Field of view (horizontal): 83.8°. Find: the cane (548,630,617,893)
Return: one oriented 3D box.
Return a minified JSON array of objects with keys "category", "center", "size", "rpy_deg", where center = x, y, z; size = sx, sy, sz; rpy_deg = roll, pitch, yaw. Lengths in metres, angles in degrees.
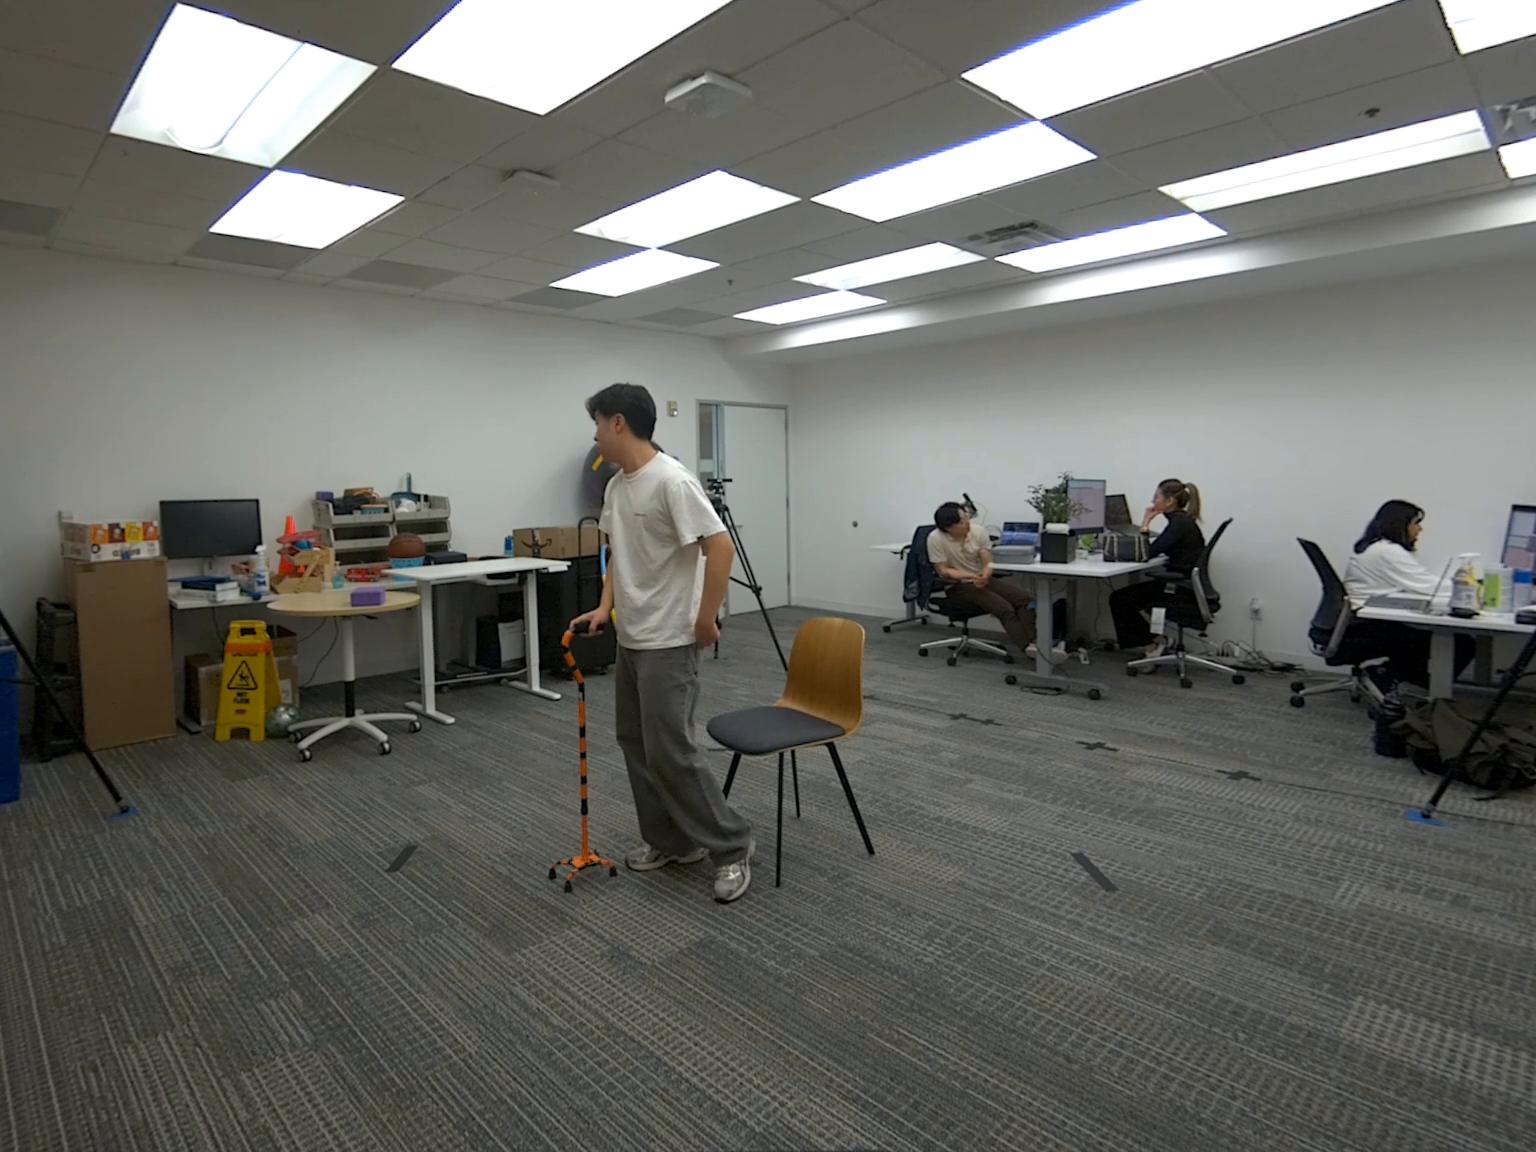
[{"category":"cane","center":[-0.661,0.611,2.993],"size":[0.201,0.903,0.156],"rpy_deg":[-6,7,-42]}]
